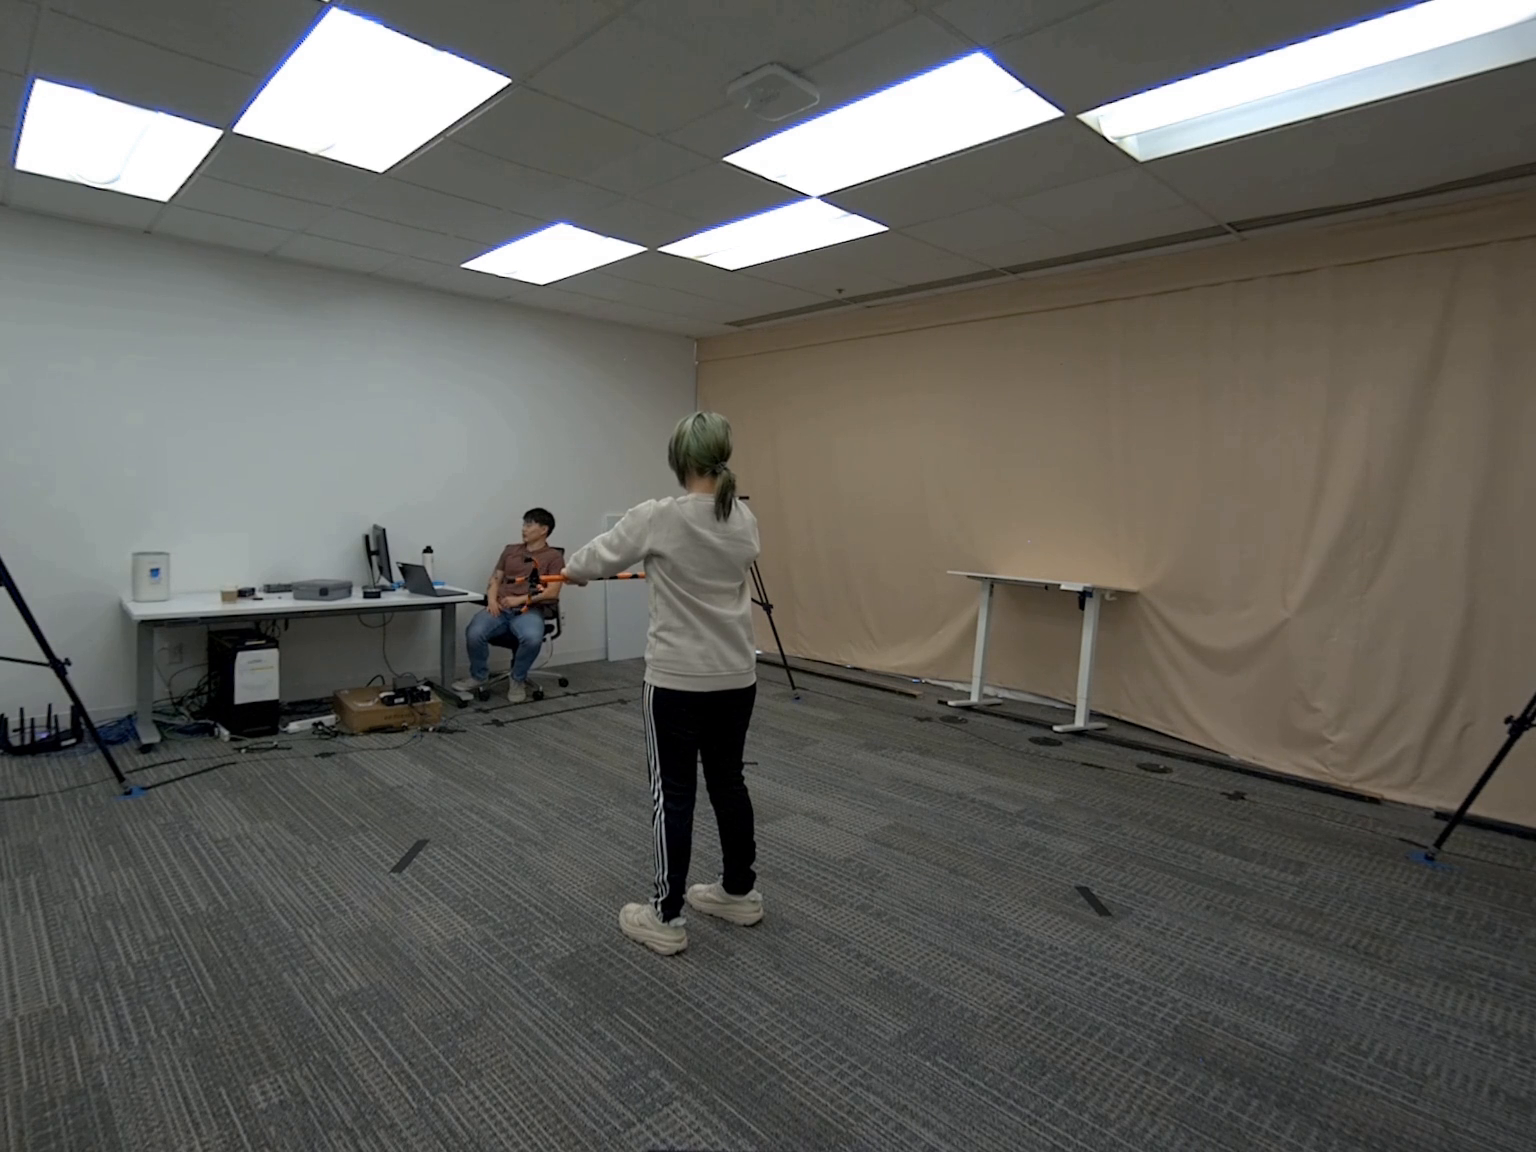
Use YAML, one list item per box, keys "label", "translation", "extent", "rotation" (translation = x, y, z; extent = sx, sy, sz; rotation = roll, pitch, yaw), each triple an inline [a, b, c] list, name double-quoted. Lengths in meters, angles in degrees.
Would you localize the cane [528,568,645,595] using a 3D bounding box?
- label: "cane"
  translation: [-0.503, 0.003, 3.124]
  extent: [0.888, 0.154, 0.207]
  rotation: [-3, -22, -35]
